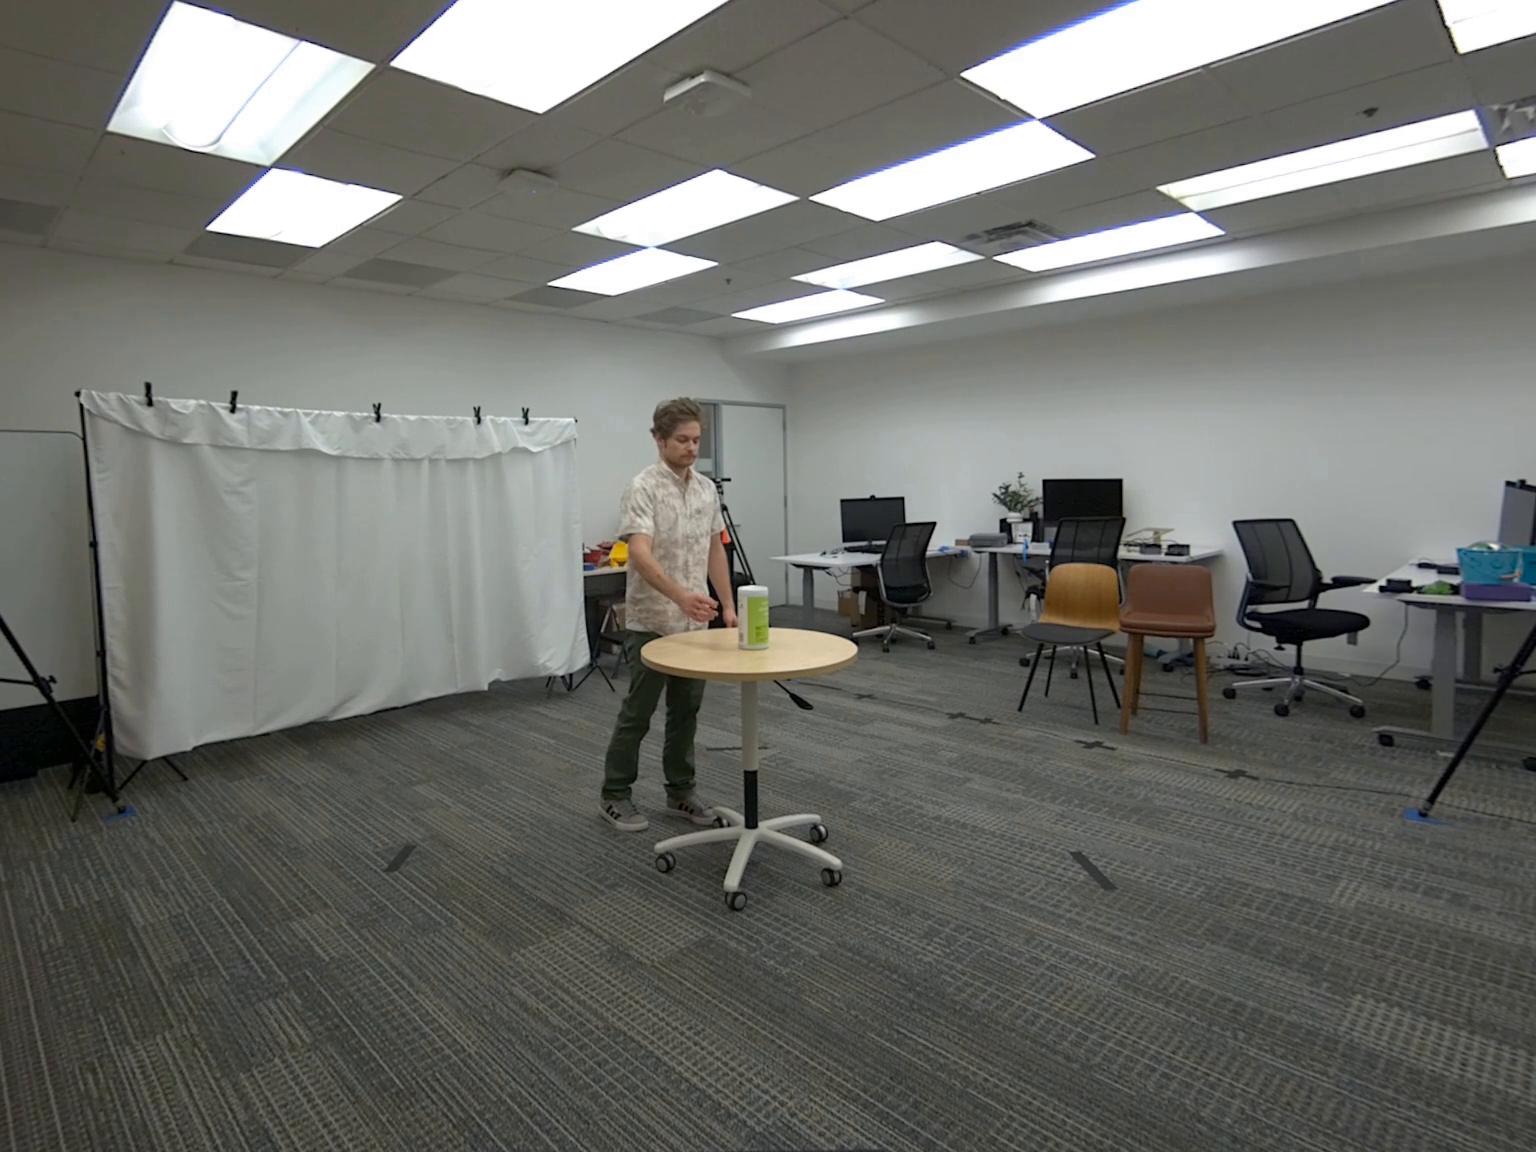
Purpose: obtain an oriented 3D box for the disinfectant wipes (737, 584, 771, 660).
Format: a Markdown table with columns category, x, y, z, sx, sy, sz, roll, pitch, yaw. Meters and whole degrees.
| category | x | y | z | sx | sy | sz | roll | pitch | yaw |
| --- | --- | --- | --- | --- | --- | --- | --- | --- | --- |
| disinfectant wipes | -0.059 | 0.145 | 3.027 | 0.118 | 0.216 | 0.118 | -3 | 5 | -1 |
